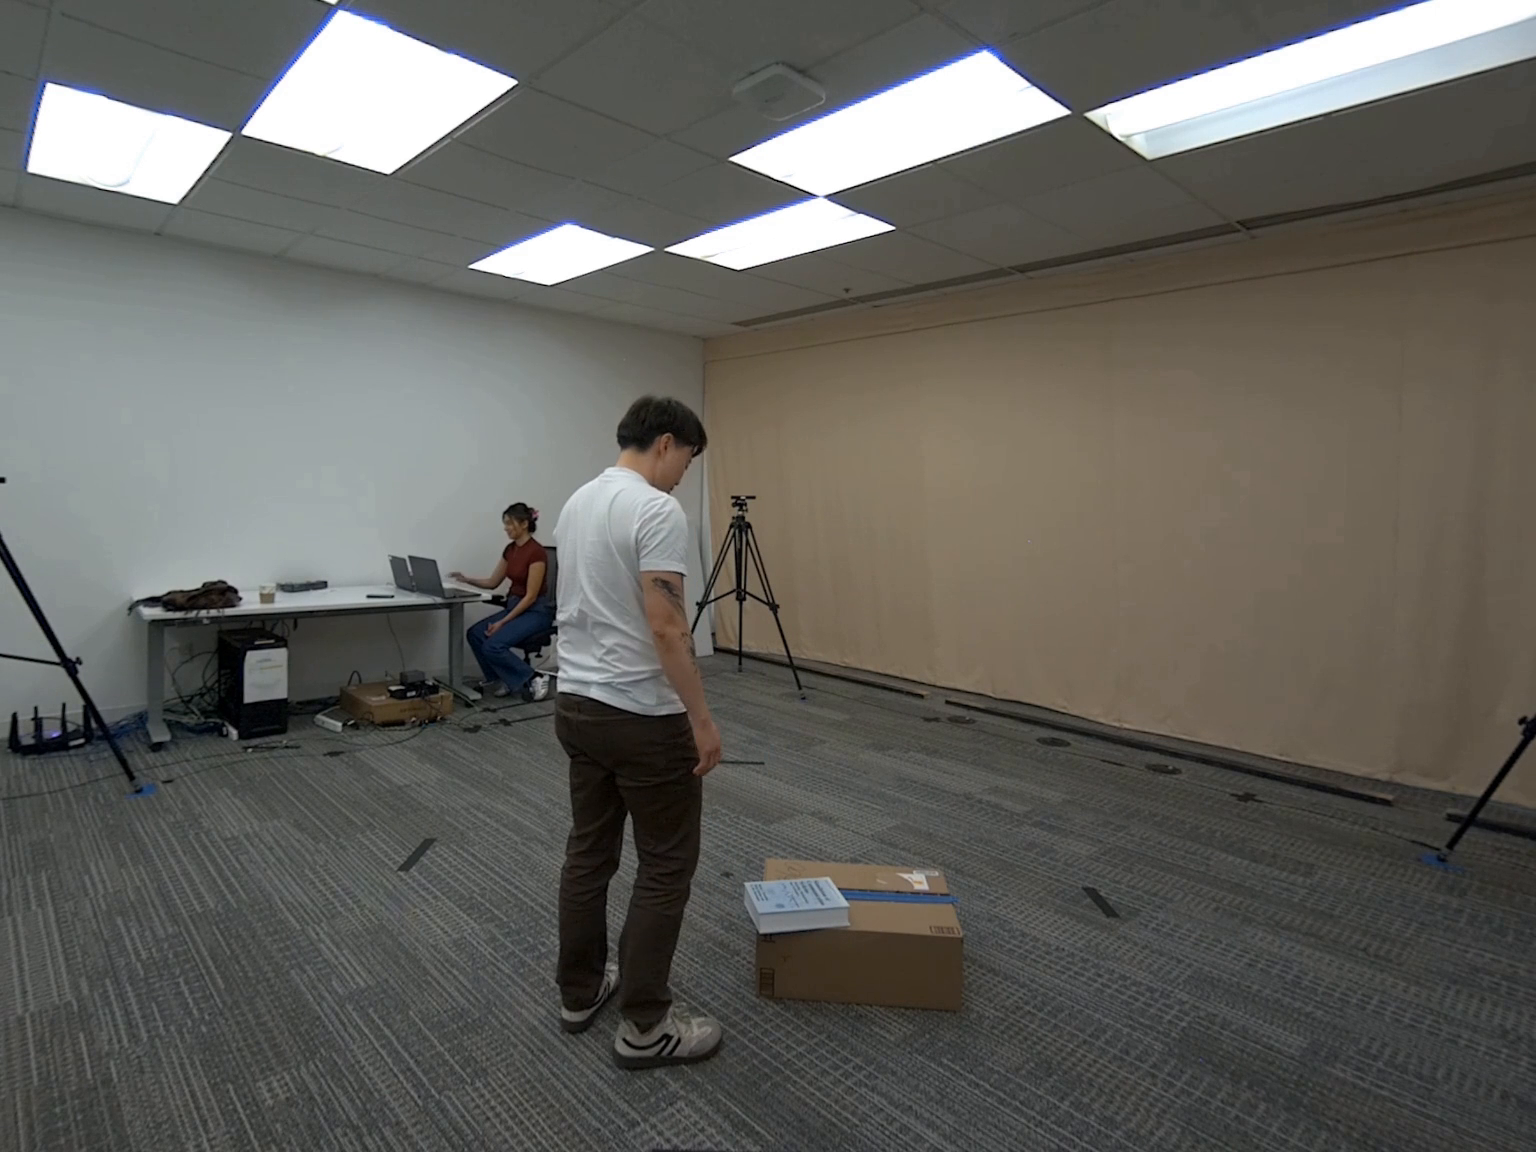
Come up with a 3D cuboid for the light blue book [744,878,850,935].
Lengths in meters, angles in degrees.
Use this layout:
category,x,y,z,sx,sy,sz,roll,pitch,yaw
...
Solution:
category,x,y,z,sx,sy,sz,roll,pitch,yaw
light blue book,0.068,0.935,2.384,0.258,0.059,0.194,1,6,-14
